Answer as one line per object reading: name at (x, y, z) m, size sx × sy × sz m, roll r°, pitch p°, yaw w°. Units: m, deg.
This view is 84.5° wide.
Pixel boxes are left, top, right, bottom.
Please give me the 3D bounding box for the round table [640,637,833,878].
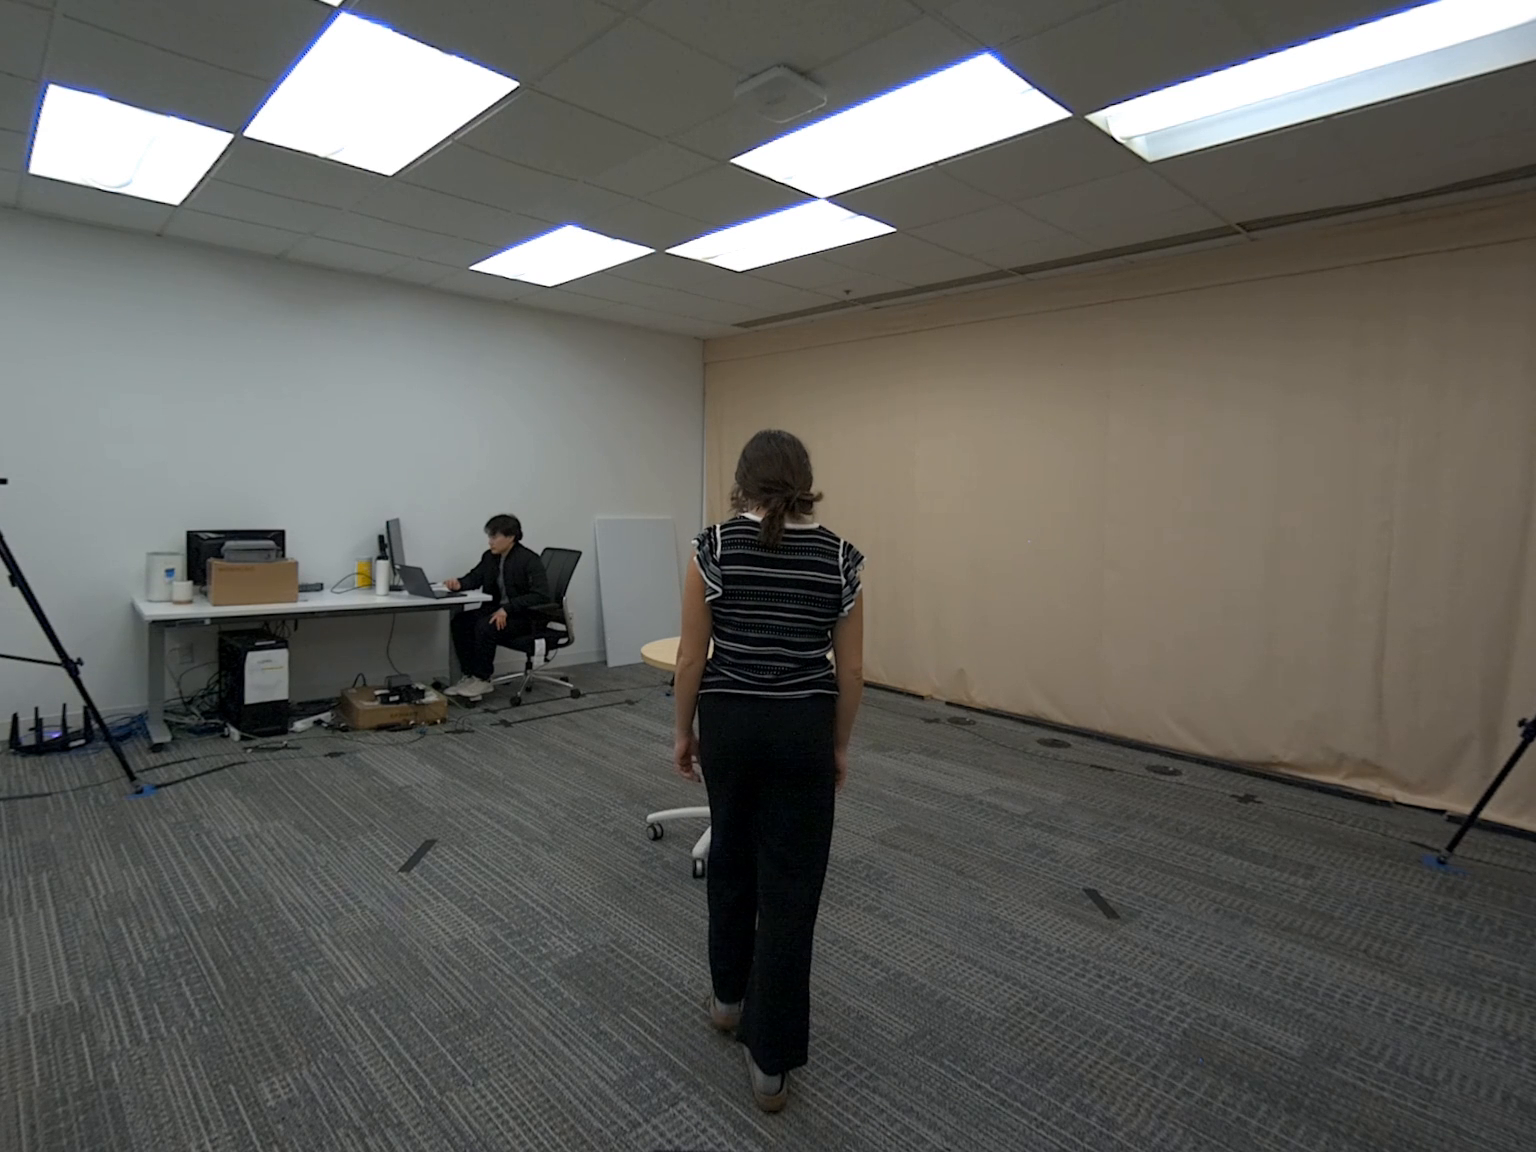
round table at (-0.134, 0.698, 3.397) m, size 0.763 × 0.792 × 0.767 m, roll 1°, pitch 4°, yaw -1°
